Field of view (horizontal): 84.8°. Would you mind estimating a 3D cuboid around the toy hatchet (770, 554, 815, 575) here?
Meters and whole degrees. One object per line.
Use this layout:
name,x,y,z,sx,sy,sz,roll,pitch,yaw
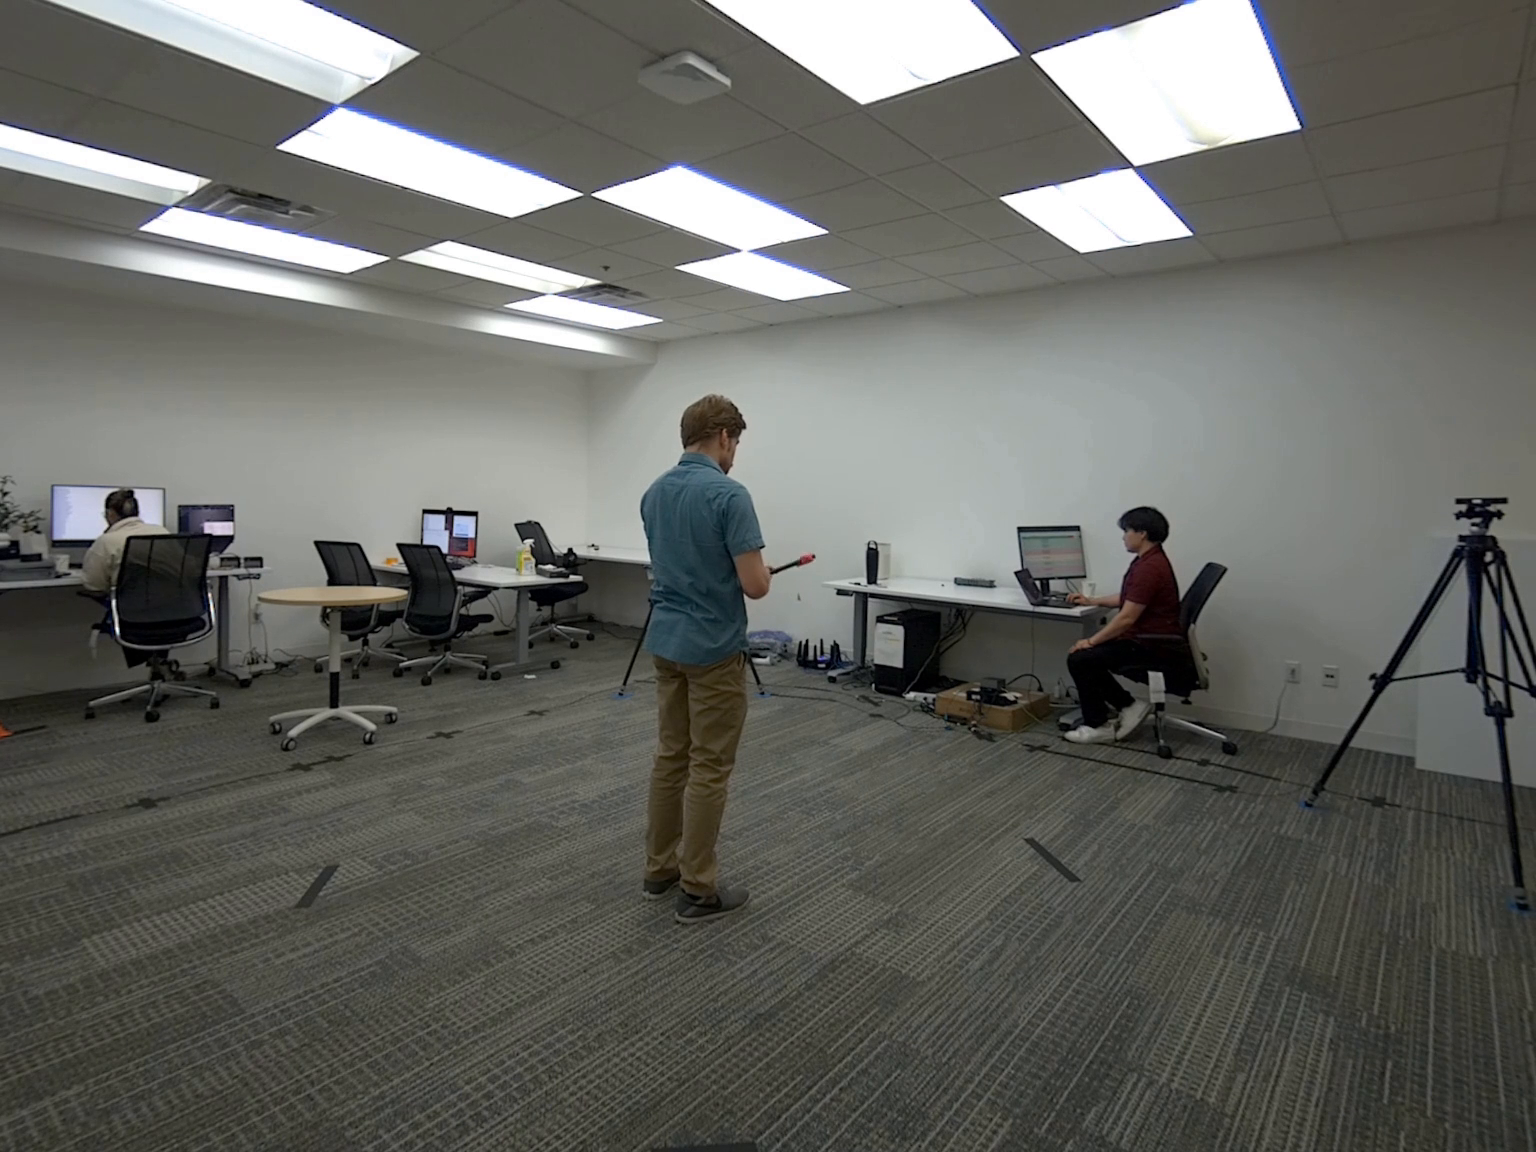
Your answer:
toy hatchet,0.032,-0.013,3.168,0.274,0.030,0.128,-22,-8,24
